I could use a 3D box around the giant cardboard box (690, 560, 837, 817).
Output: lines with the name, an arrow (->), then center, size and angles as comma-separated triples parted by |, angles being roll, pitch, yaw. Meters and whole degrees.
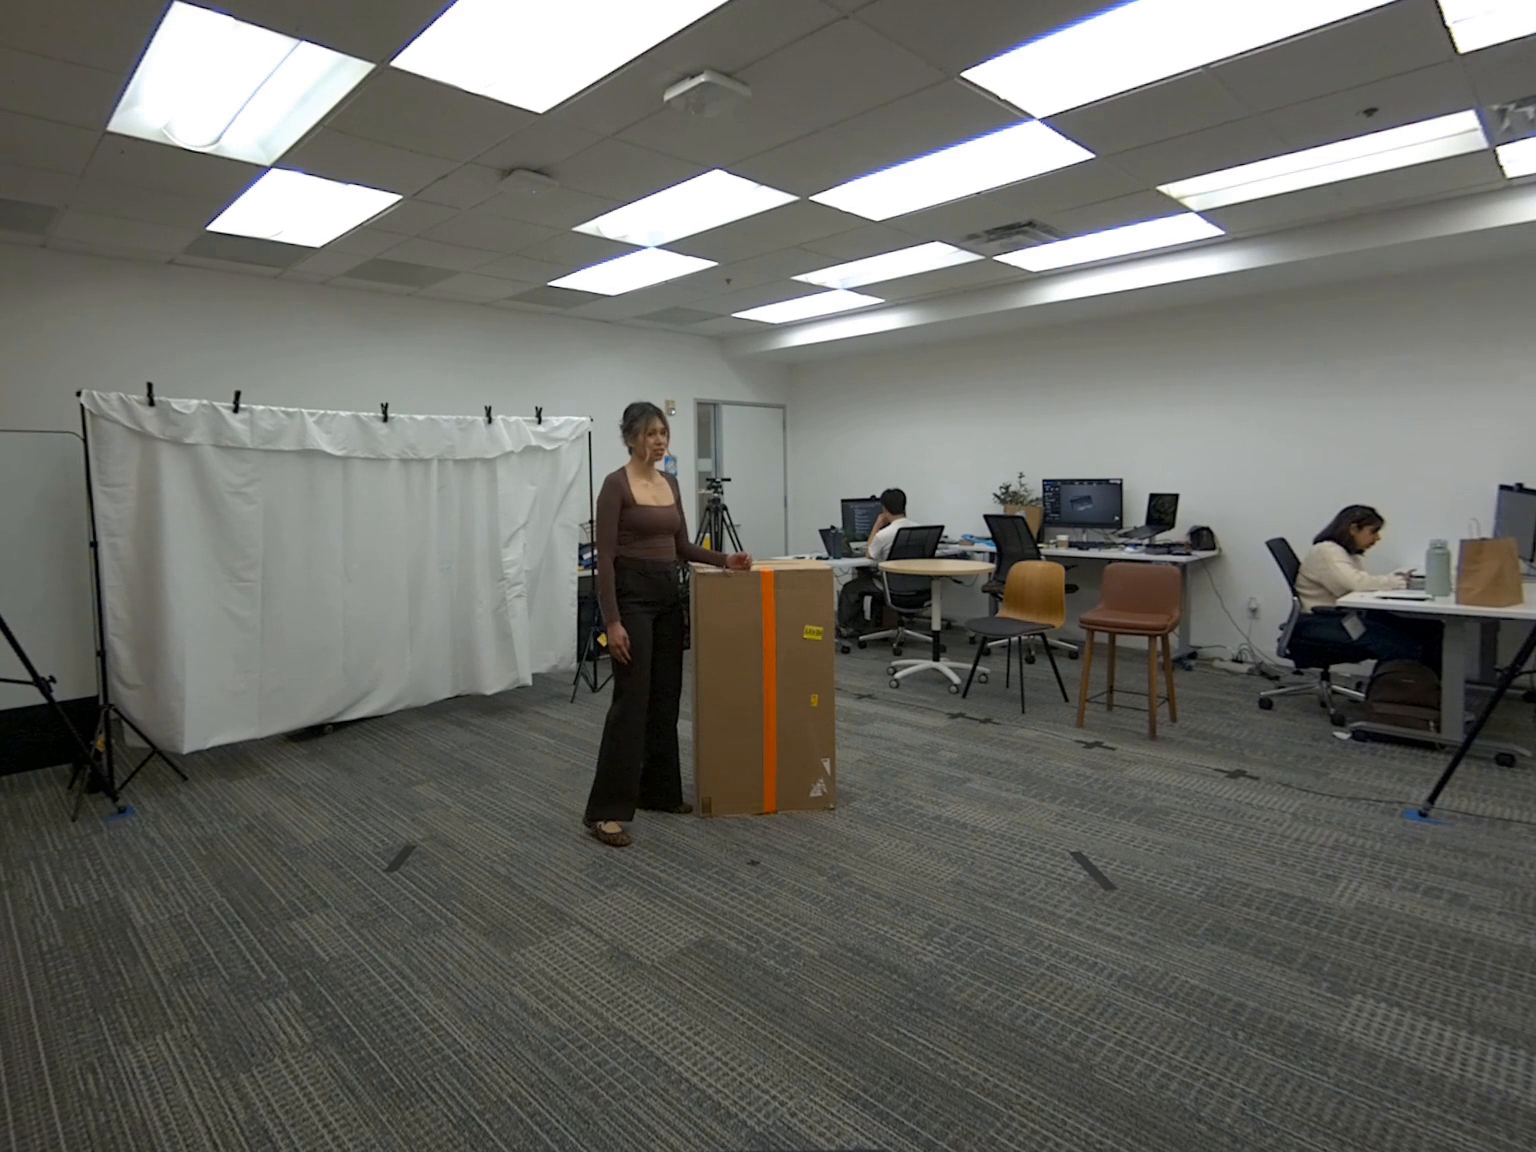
giant cardboard box -> -0.032, 0.459, 3.735 | 0.580, 1.024, 0.451 | -1, 4, -8
